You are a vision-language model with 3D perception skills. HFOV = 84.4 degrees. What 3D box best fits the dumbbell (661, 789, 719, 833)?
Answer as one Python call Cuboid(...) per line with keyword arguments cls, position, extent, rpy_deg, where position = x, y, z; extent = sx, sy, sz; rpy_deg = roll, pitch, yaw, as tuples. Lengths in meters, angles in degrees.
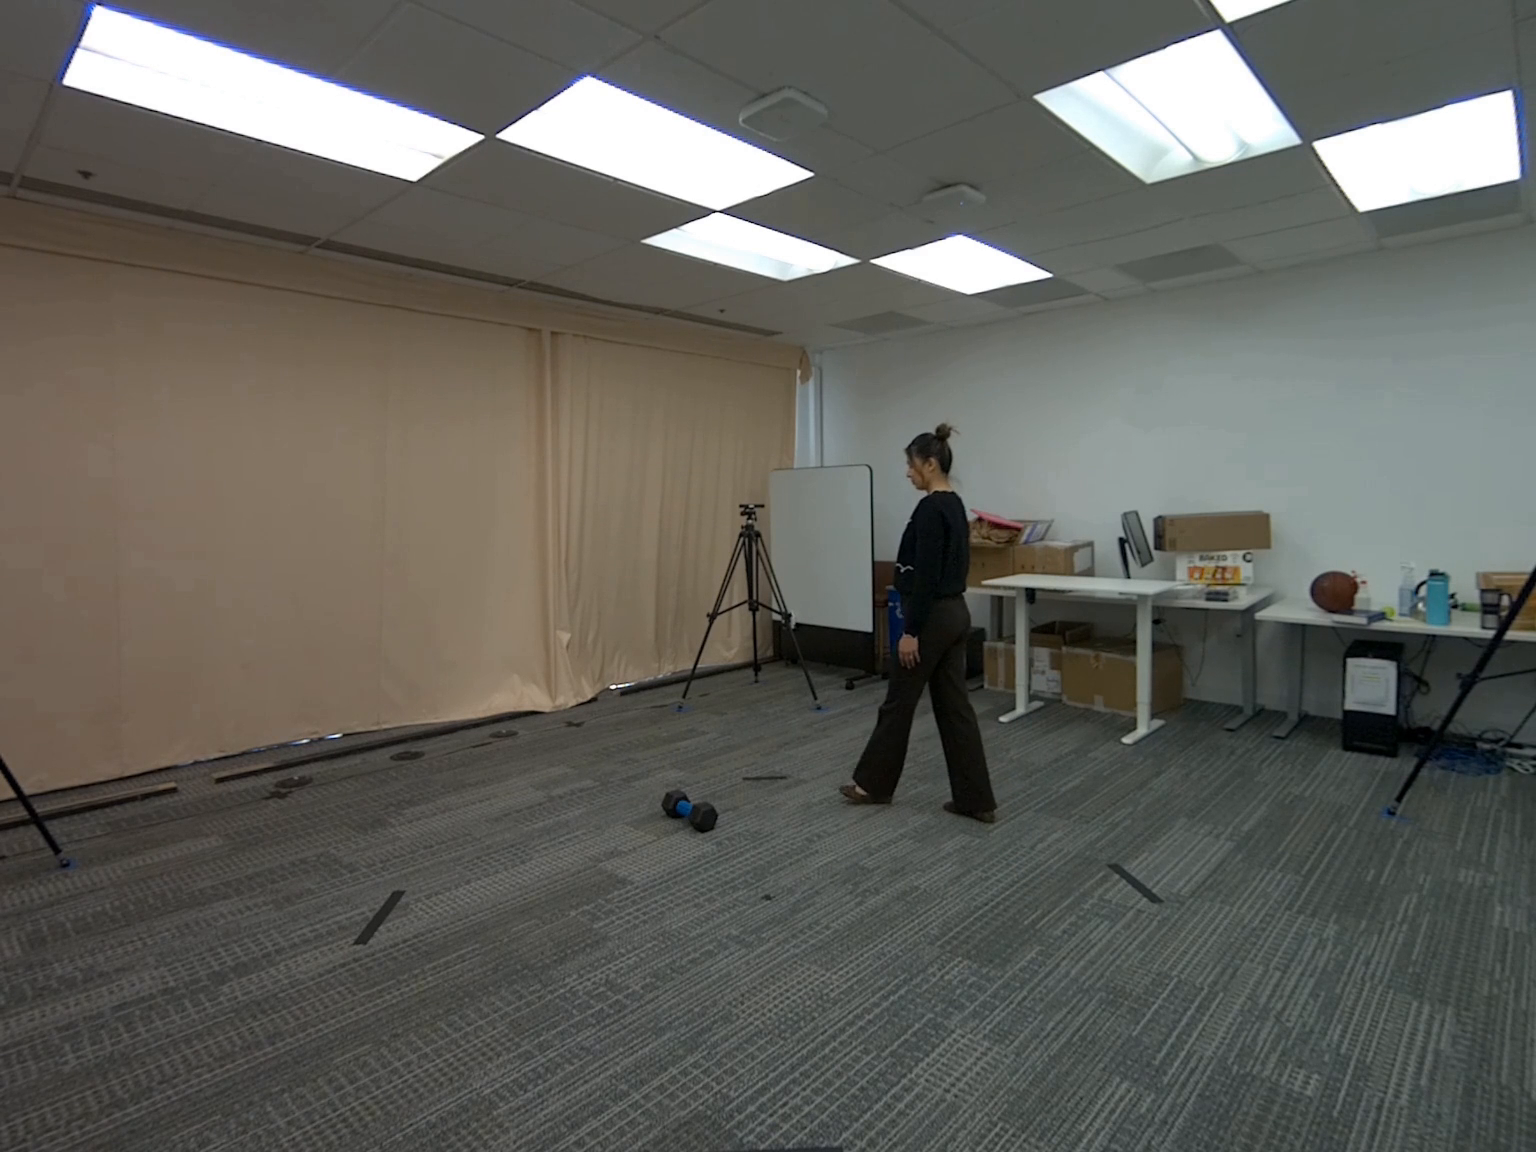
Cuboid(cls="dumbbell", position=(-0.345, 1.031, 3.706), extent=(0.105, 0.123, 0.303), rpy_deg=(34, -18, -35))
